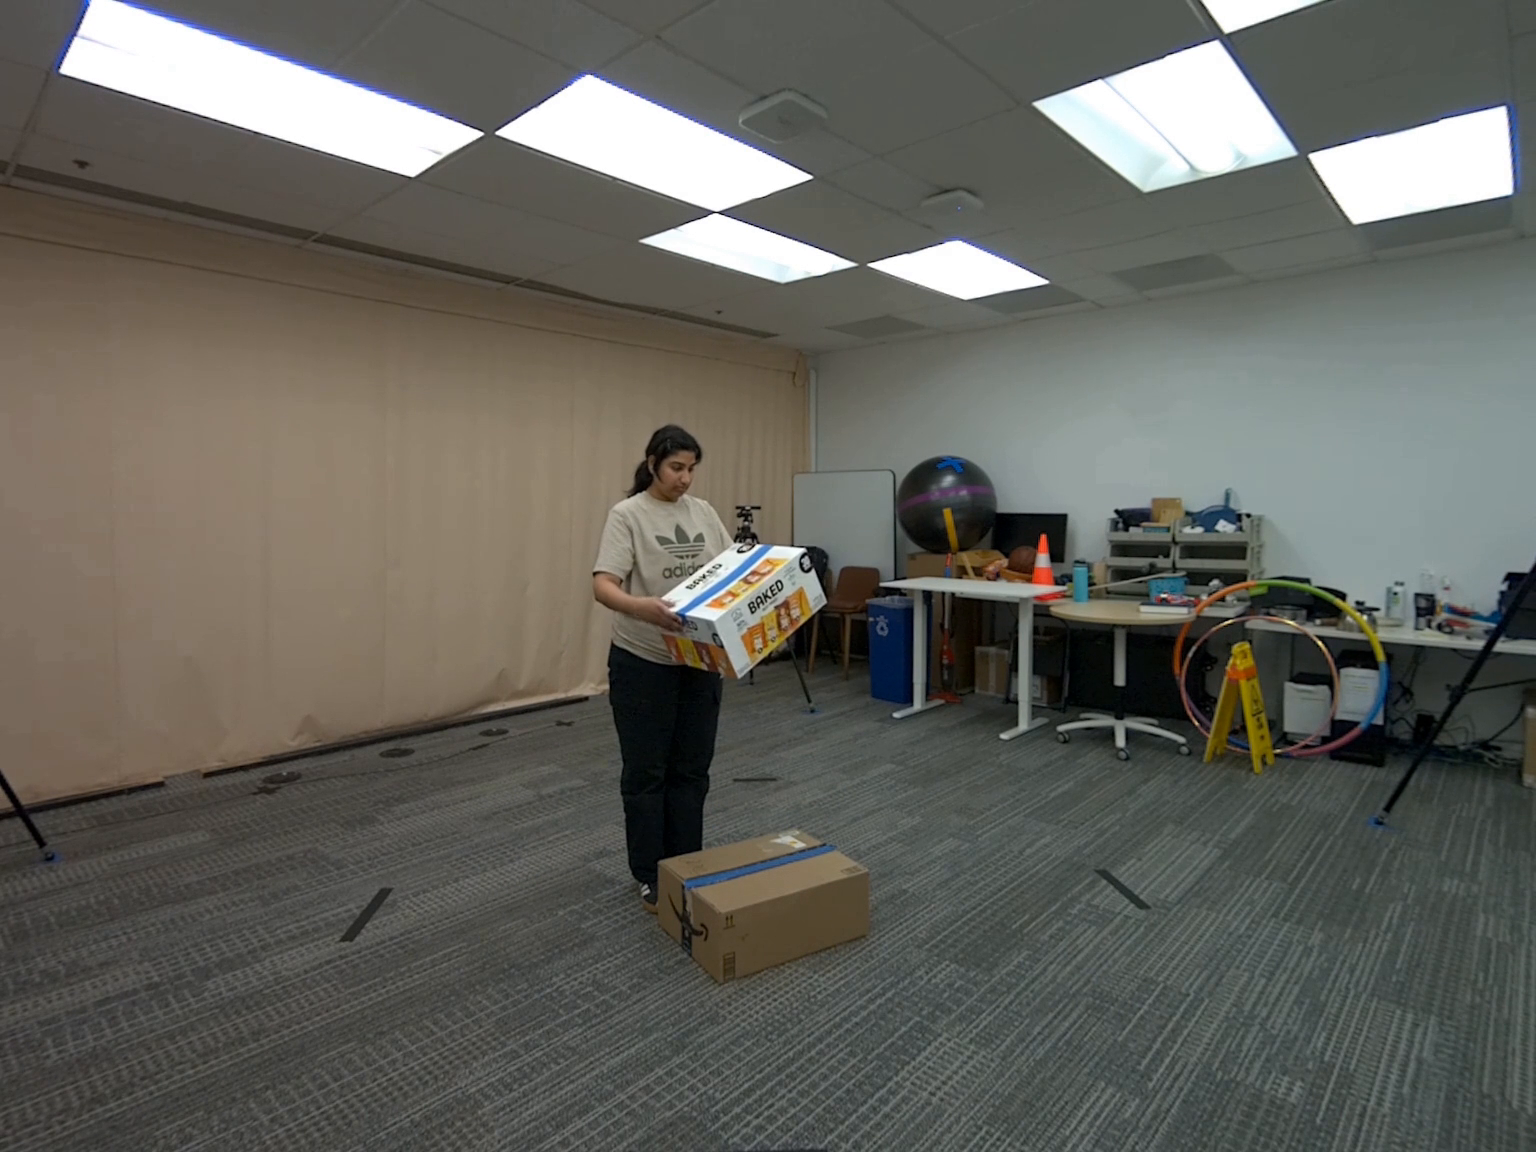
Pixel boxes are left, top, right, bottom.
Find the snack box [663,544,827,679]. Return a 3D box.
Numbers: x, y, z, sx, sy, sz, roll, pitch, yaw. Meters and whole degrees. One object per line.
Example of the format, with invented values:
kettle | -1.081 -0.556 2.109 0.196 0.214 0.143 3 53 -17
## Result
snack box | -0.088 0.096 2.610 0.400 0.201 0.351 -38 26 -31
